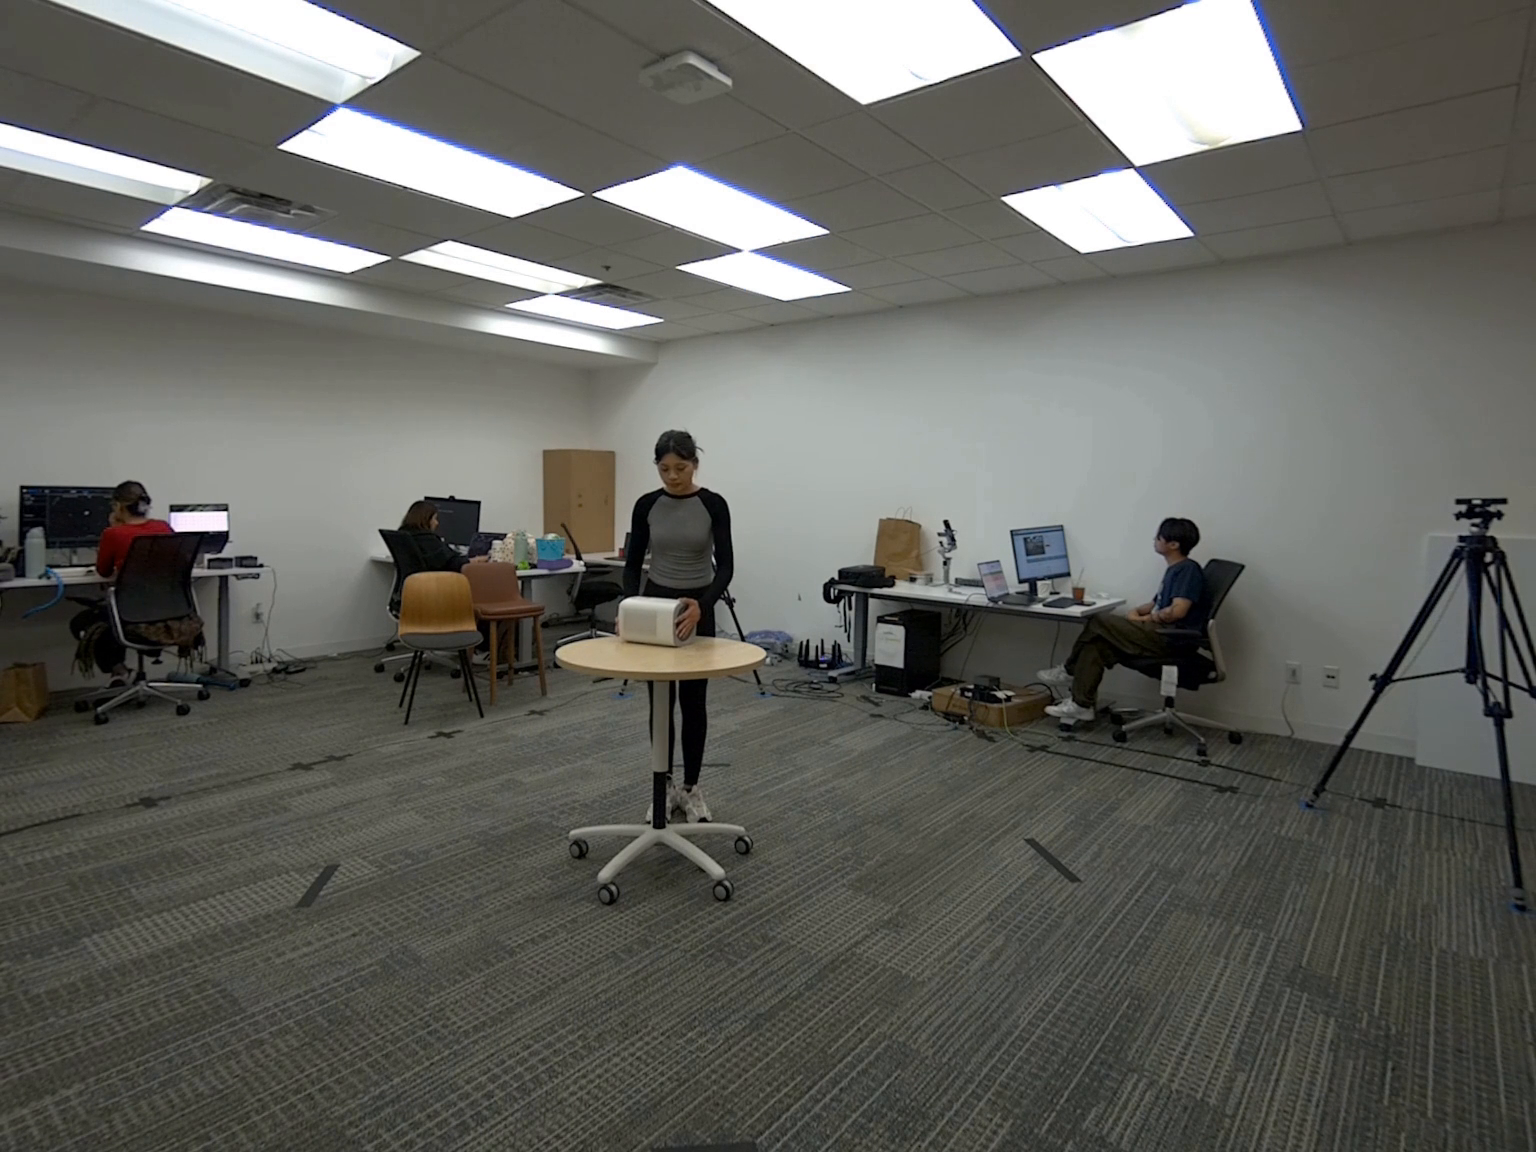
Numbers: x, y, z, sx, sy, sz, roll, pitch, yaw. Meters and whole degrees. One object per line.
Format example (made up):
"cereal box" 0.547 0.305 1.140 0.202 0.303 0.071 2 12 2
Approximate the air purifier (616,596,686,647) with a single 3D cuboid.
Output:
"air purifier" -0.449 0.167 3.295 0.272 0.171 0.167 3 5 26
